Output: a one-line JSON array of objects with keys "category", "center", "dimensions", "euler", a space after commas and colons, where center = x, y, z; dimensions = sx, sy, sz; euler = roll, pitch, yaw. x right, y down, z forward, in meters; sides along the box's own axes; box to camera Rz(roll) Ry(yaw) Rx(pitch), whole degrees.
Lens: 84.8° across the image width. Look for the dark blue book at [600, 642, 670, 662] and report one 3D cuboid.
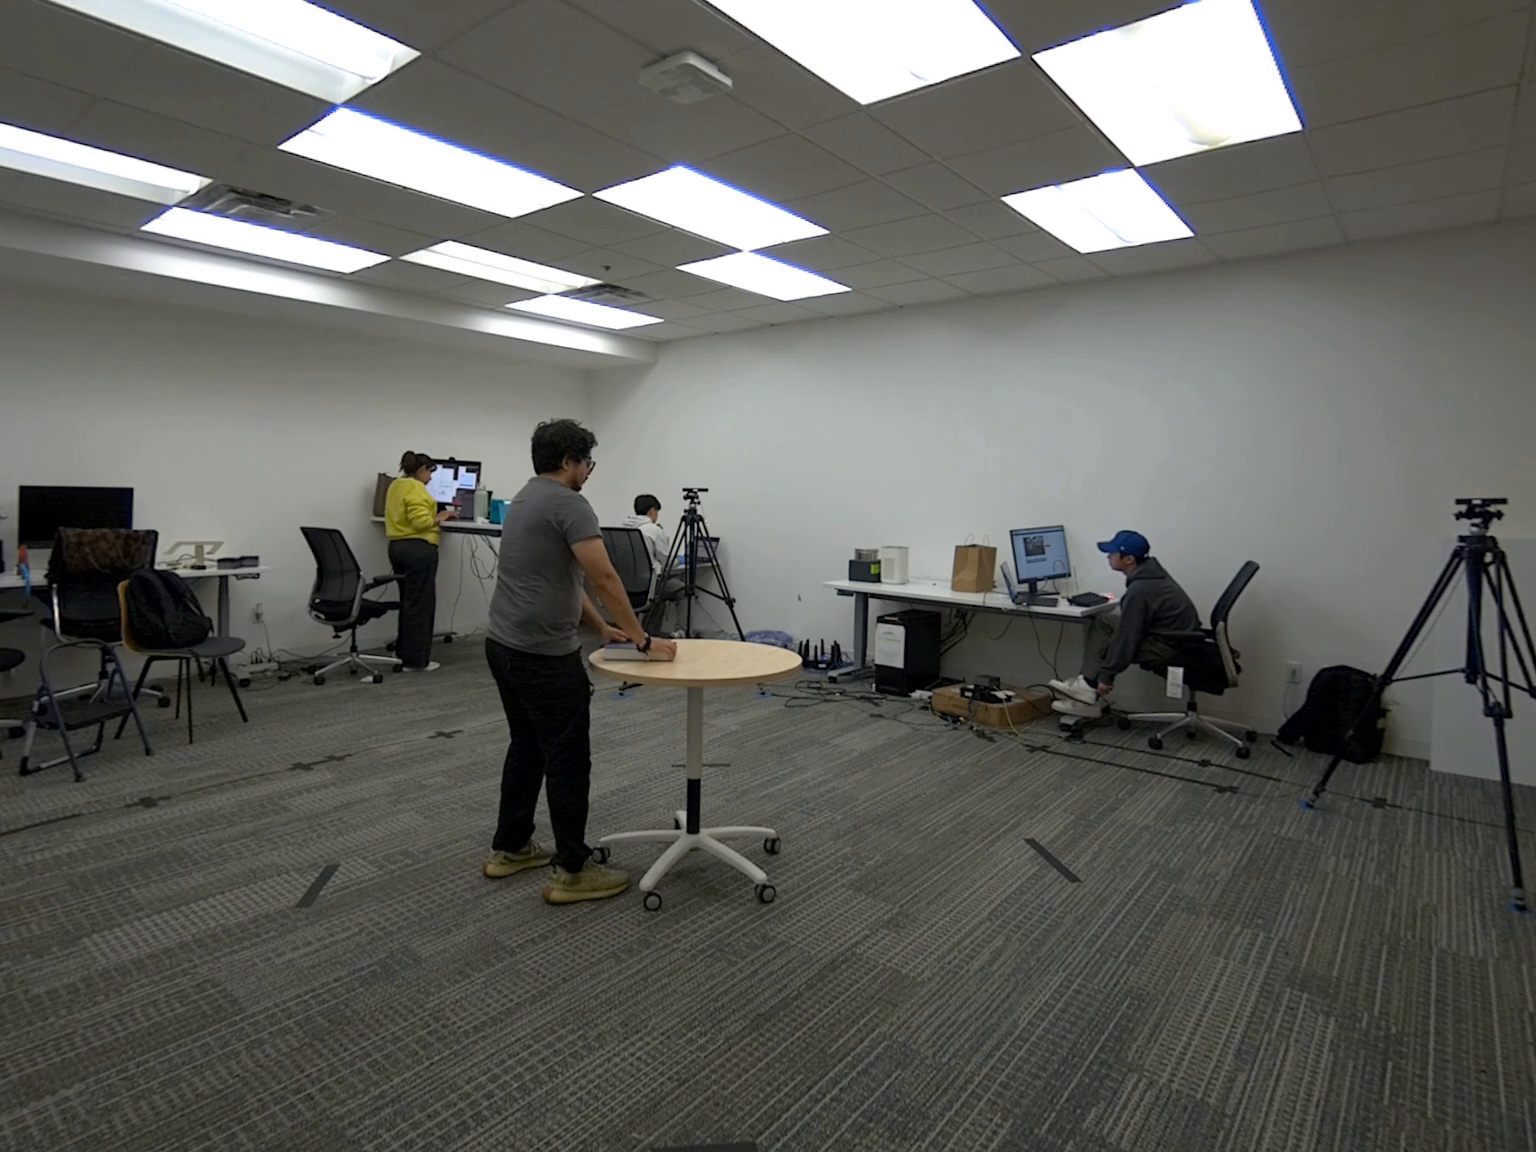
[{"category": "dark blue book", "center": [-0.466, 0.270, 3.060], "dimensions": [0.245, 0.045, 0.164], "euler": [0, 6, 0]}]
